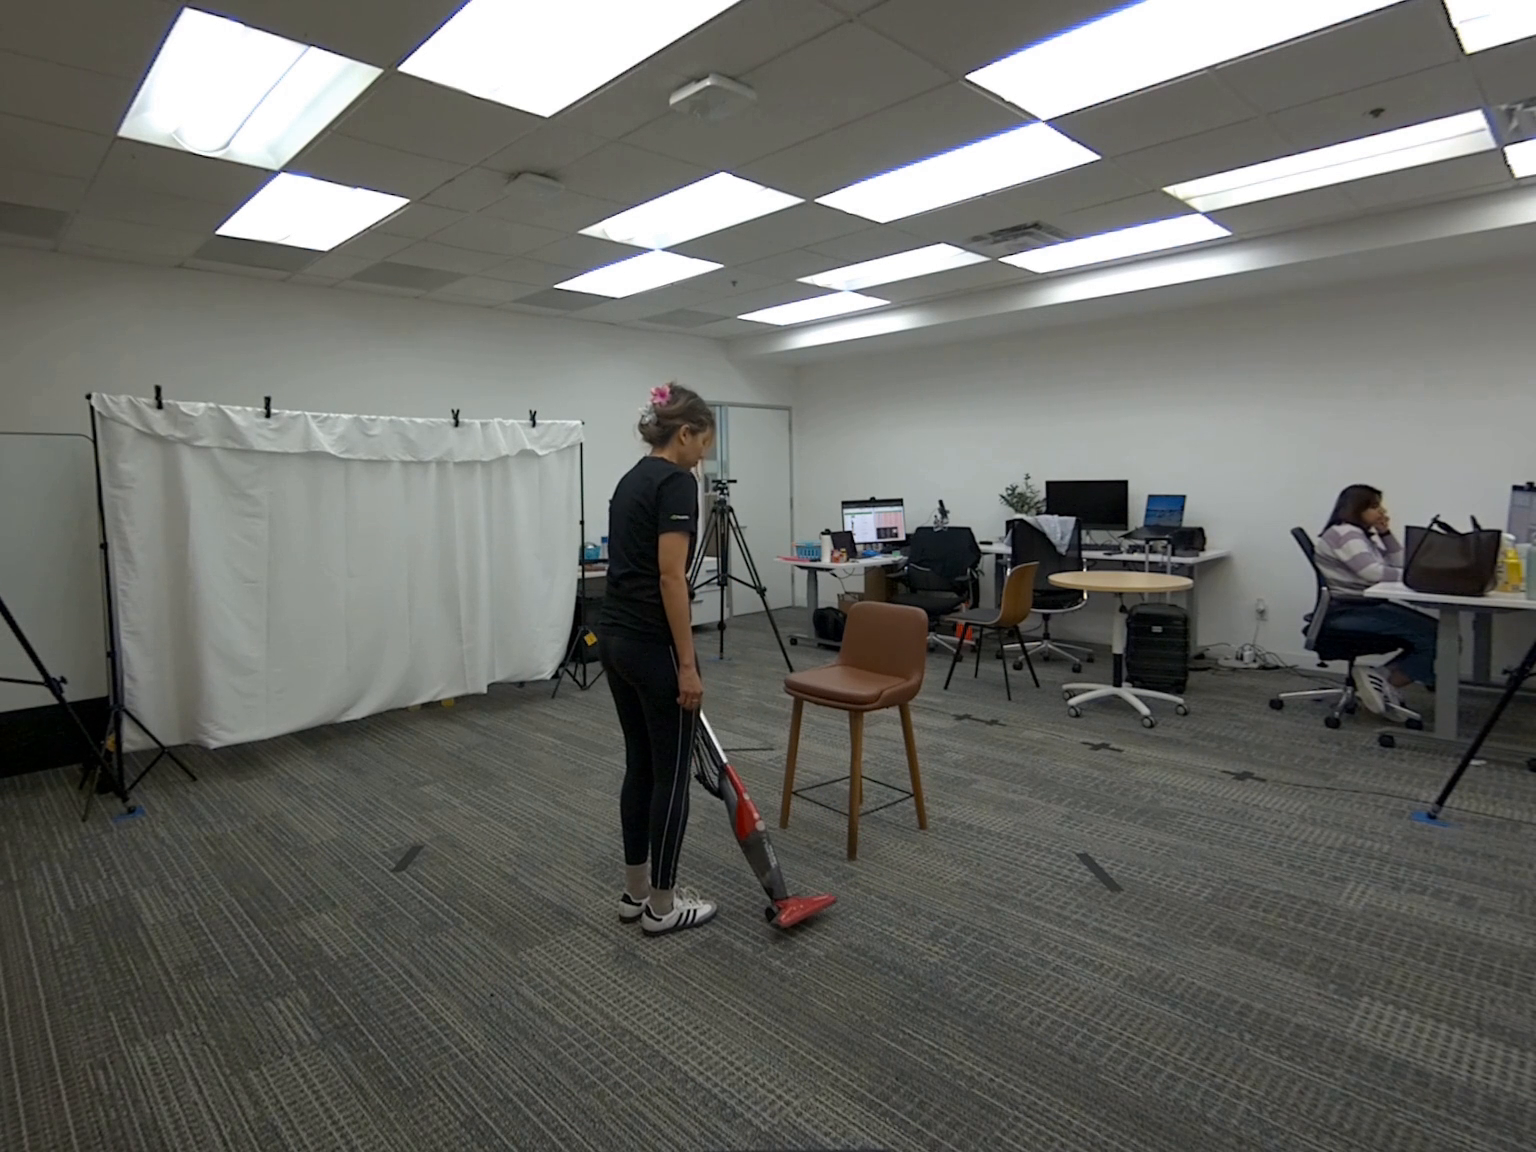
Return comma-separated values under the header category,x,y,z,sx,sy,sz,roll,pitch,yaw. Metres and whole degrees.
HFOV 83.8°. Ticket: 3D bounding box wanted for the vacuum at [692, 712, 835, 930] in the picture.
category,x,y,z,sx,sy,sz,roll,pitch,yaw
vacuum,-0.165,0.659,2.953,0.245,1.085,0.143,-1,-42,-43
